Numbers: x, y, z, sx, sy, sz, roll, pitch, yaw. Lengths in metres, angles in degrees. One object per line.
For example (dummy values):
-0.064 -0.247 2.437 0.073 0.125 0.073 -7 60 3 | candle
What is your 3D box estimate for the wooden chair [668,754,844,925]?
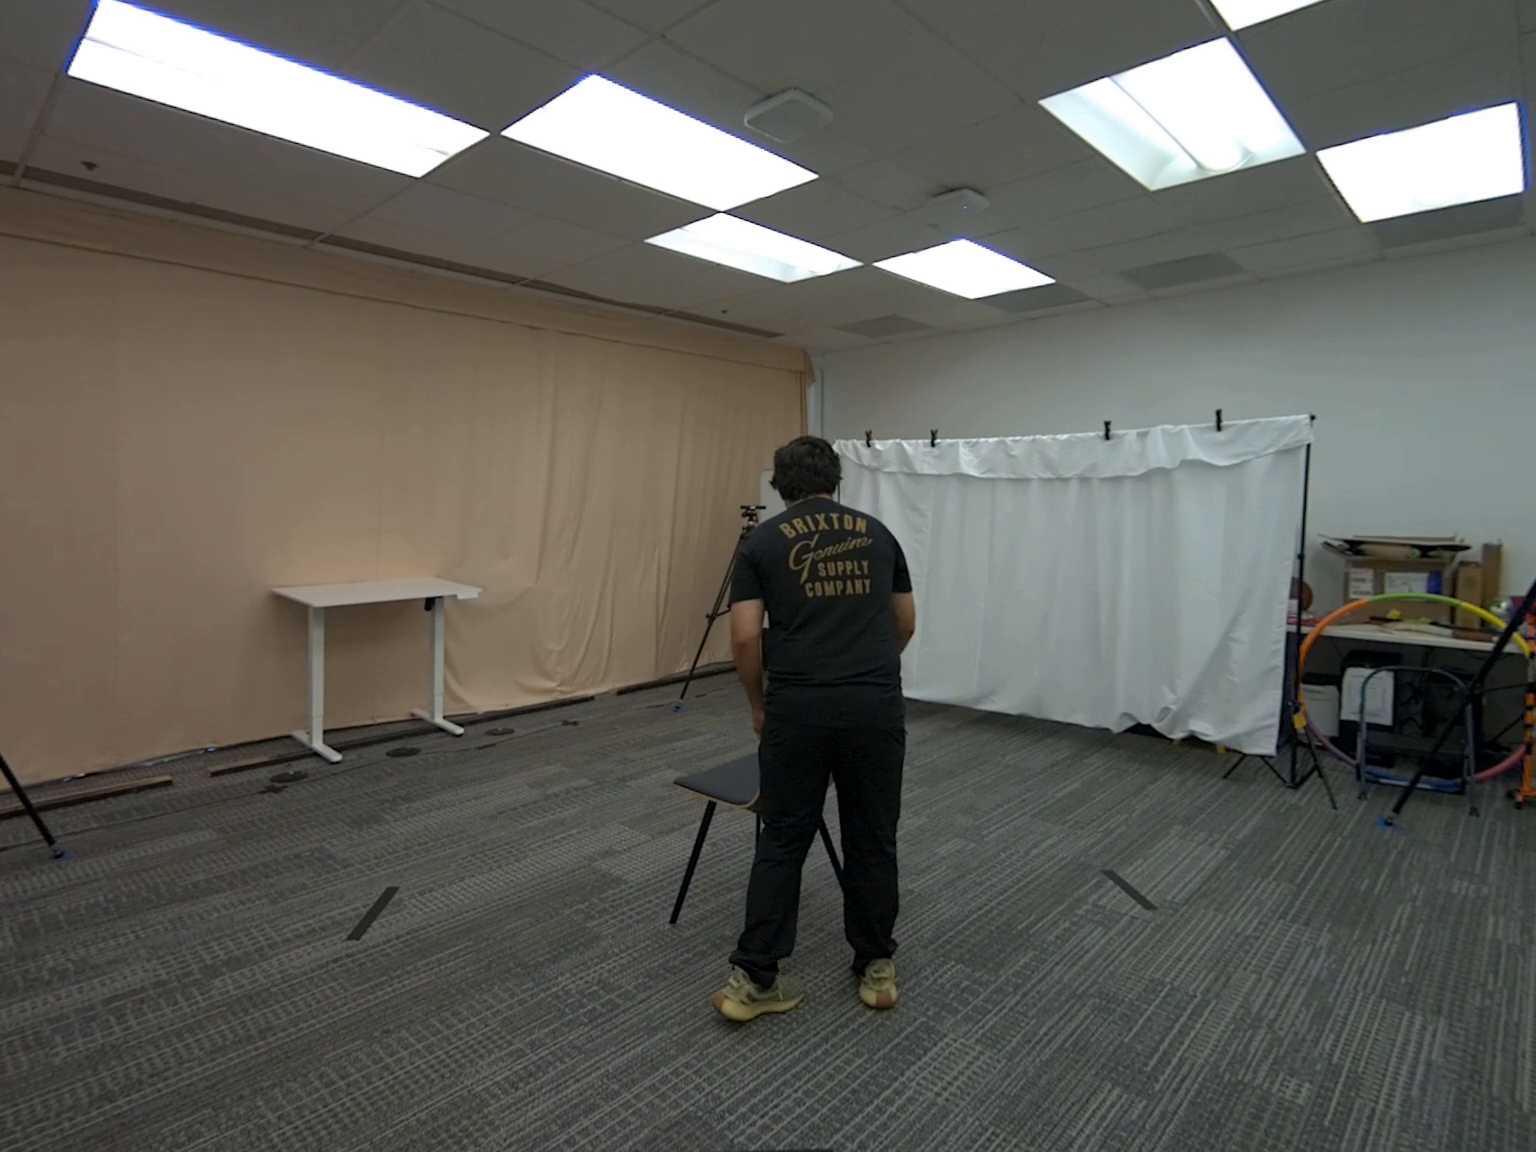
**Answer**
-0.015 0.730 2.799 0.541 0.874 0.463 9 8 40 | wooden chair
